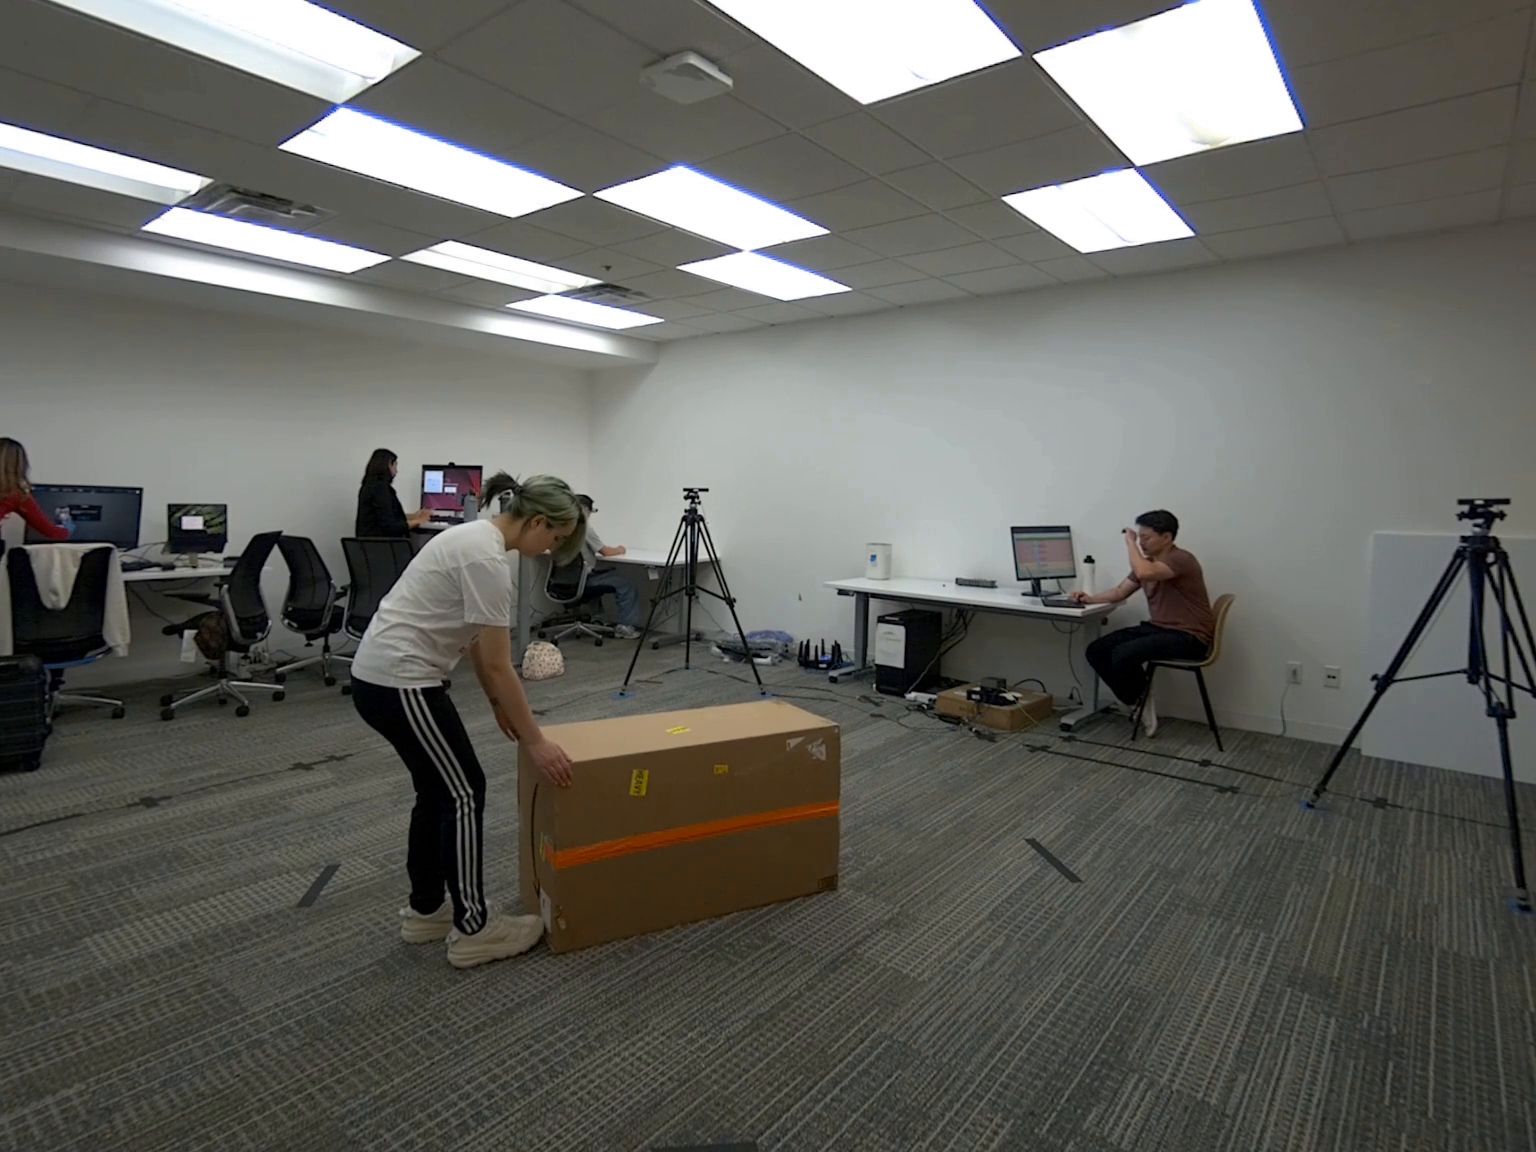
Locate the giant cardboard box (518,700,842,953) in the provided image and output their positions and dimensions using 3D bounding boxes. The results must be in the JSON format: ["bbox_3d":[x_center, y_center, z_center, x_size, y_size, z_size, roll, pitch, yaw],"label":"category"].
[{"bbox_3d":[-0.303,0.799,2.913,1.001,0.582,0.460,-2,6,-29],"label":"giant cardboard box"}]
